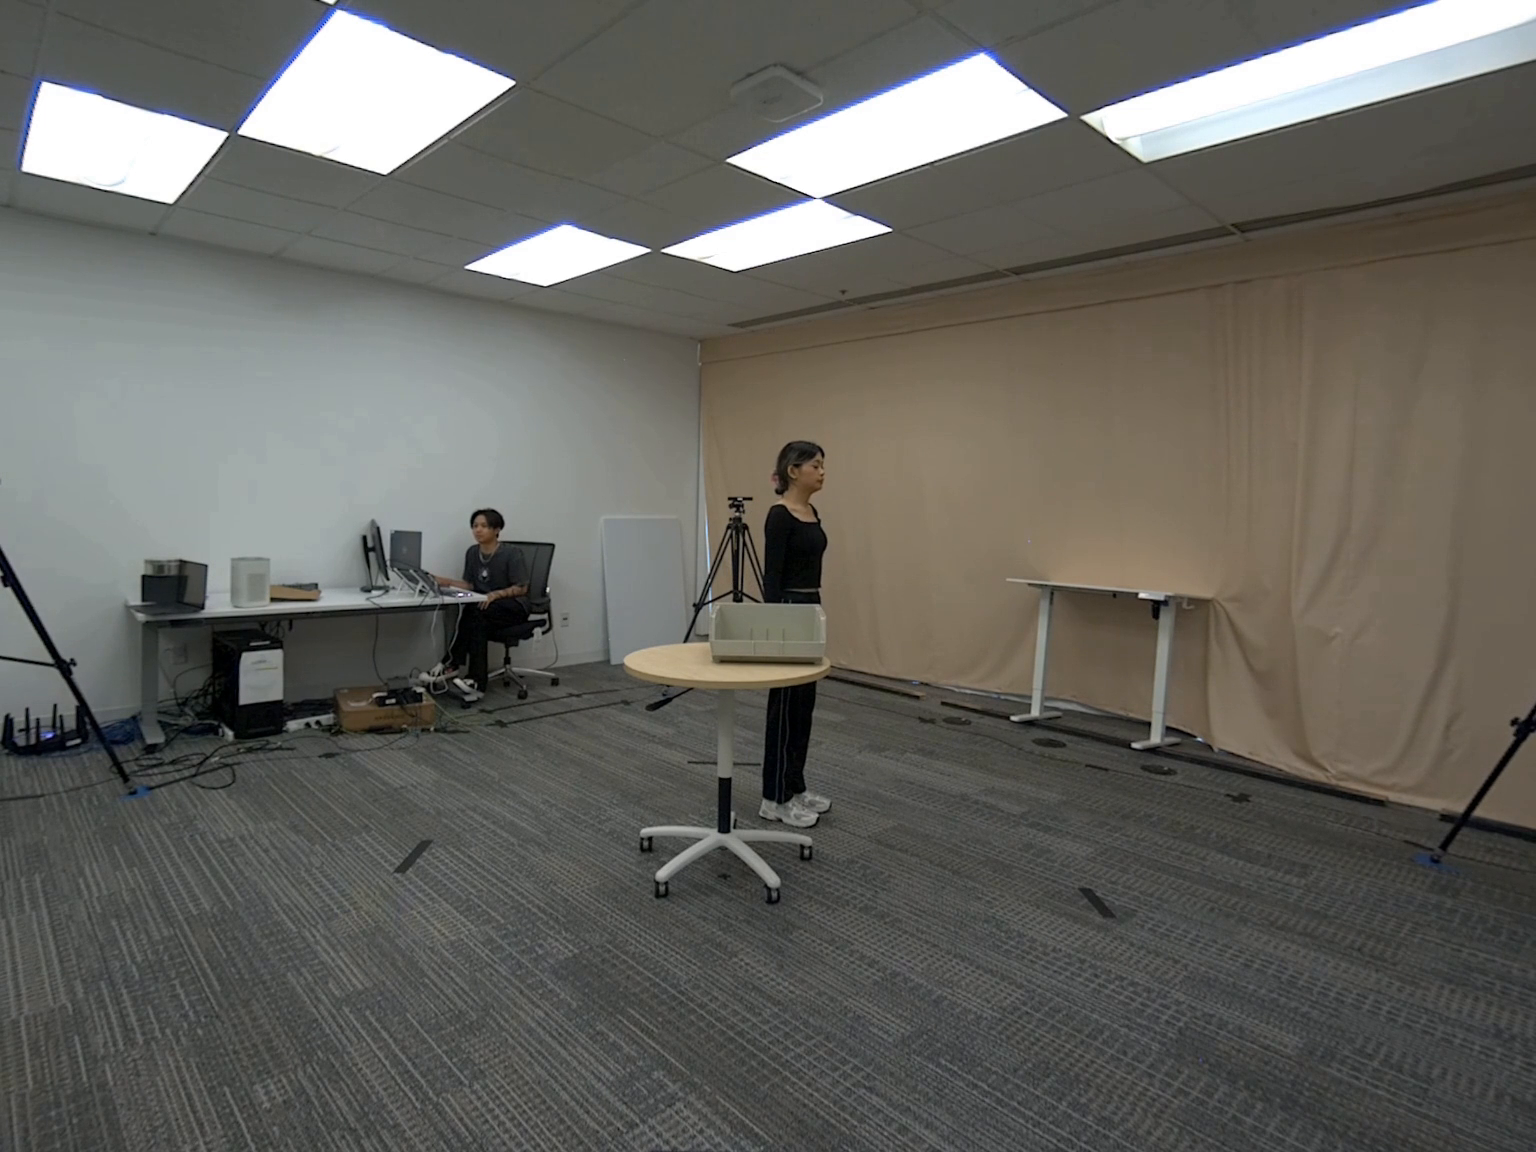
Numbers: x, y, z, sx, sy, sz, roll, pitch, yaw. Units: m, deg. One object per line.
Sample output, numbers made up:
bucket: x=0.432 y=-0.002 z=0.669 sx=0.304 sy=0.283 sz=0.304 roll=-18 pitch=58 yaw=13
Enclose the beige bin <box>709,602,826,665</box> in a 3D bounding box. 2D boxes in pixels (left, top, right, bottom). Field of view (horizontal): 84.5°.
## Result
beige bin: x=-0.009 y=0.221 z=3.189 sx=0.423 sy=0.188 sz=0.378 roll=0 pitch=4 yaw=1
